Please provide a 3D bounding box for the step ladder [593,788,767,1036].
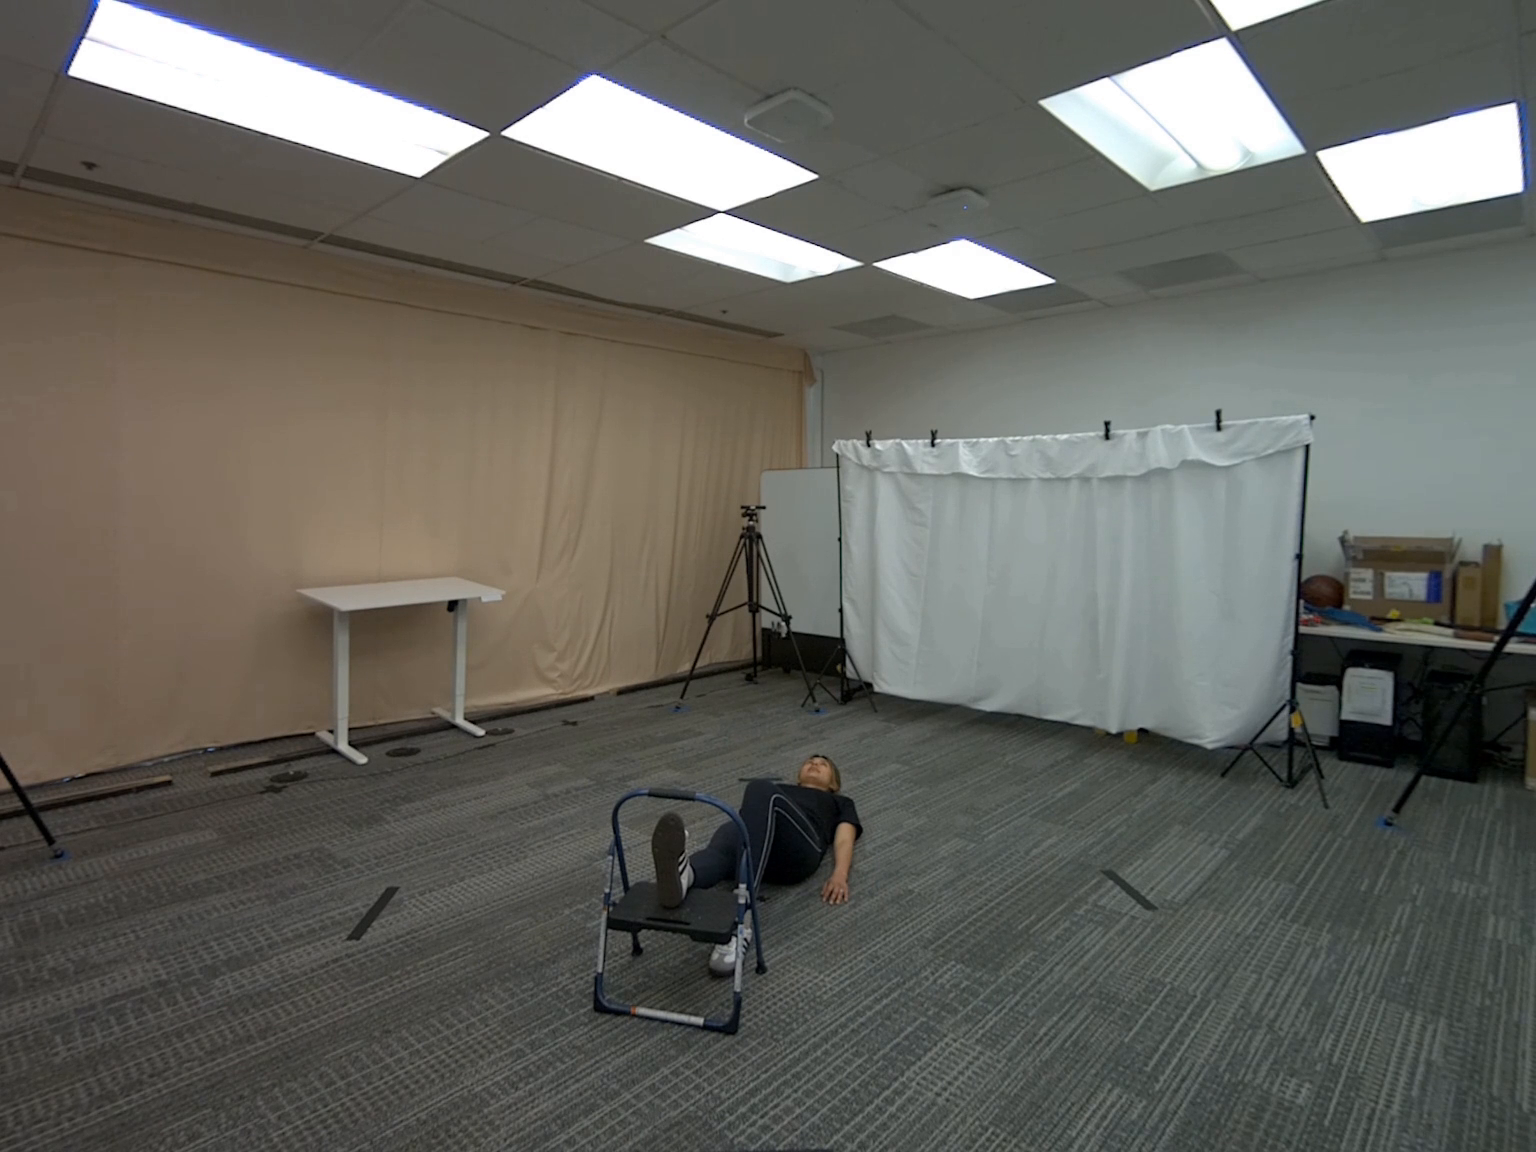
[{"bbox_3d":[-0.252,0.893,2.410,0.437,0.605,0.344,1,3,14],"label":"step ladder"}]
